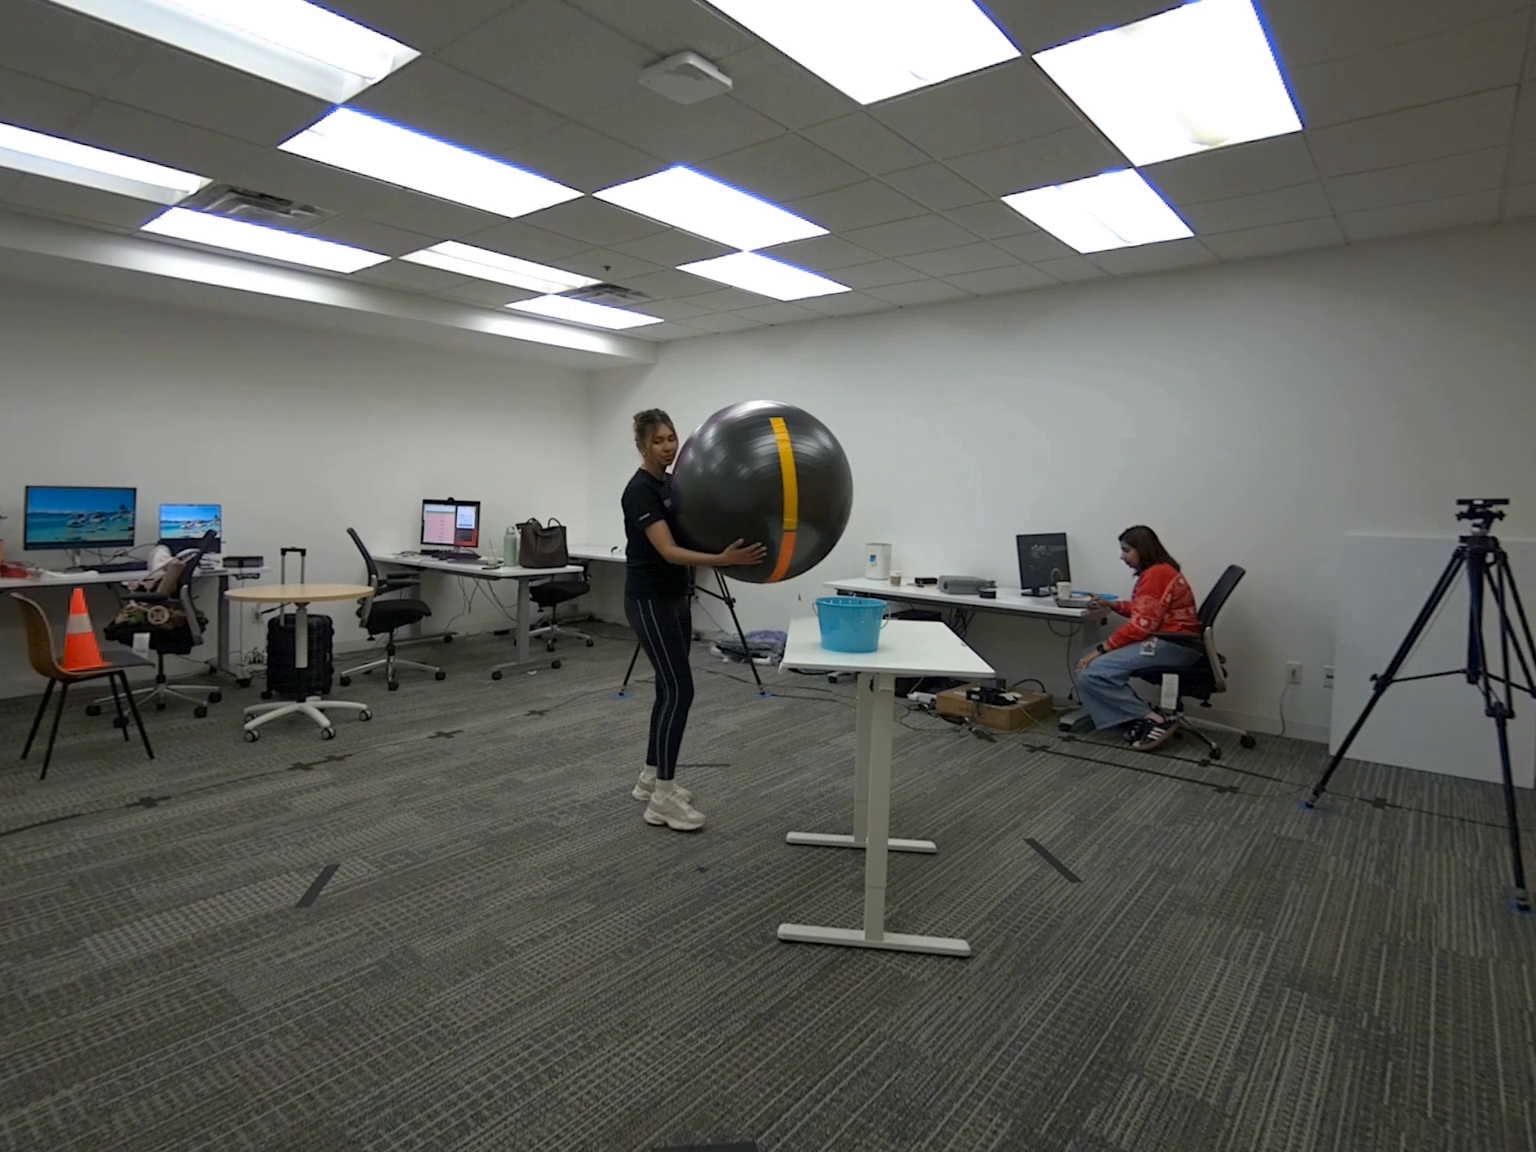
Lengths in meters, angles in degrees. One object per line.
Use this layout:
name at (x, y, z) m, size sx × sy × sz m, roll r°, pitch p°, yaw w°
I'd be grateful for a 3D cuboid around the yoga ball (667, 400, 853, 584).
yoga ball at (-0.035, -0.349, 3.543) m, size 0.757 × 0.756 × 0.762 m, roll 1°, pitch 4°, yaw -2°
